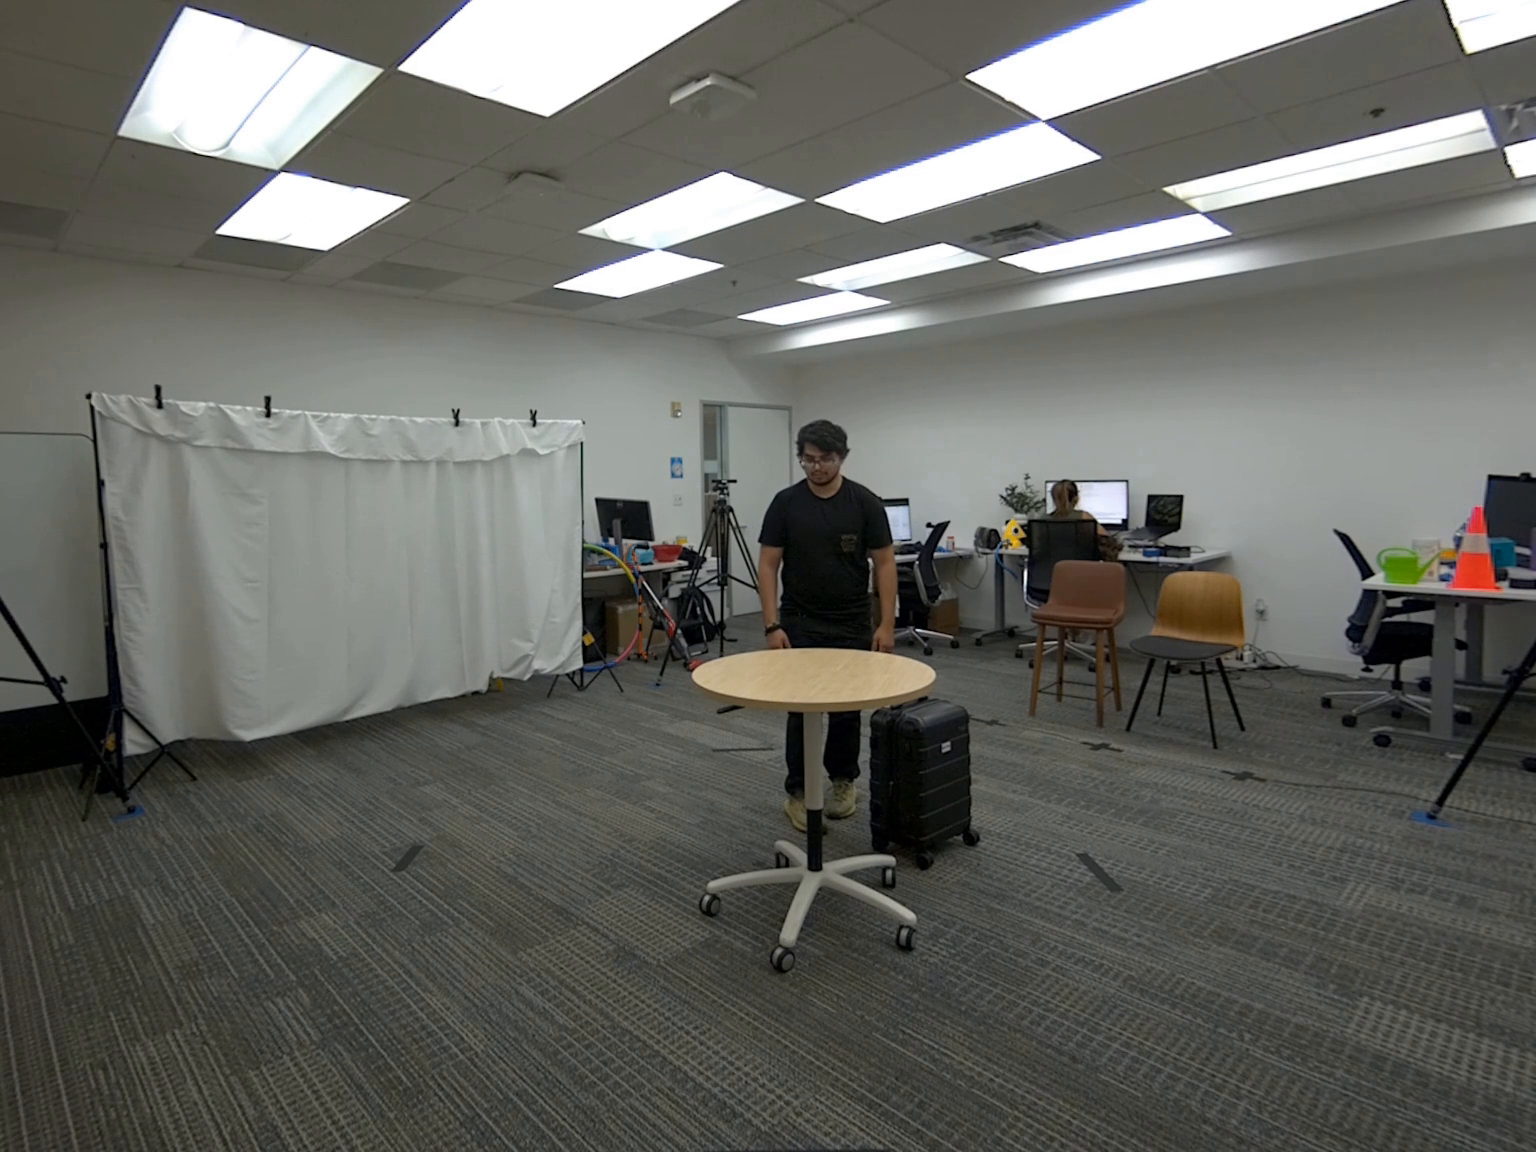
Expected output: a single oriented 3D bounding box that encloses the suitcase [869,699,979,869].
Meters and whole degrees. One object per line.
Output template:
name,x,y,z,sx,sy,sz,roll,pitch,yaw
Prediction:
suitcase,0.590,0.745,3.220,0.365,0.548,0.255,-4,3,-43
